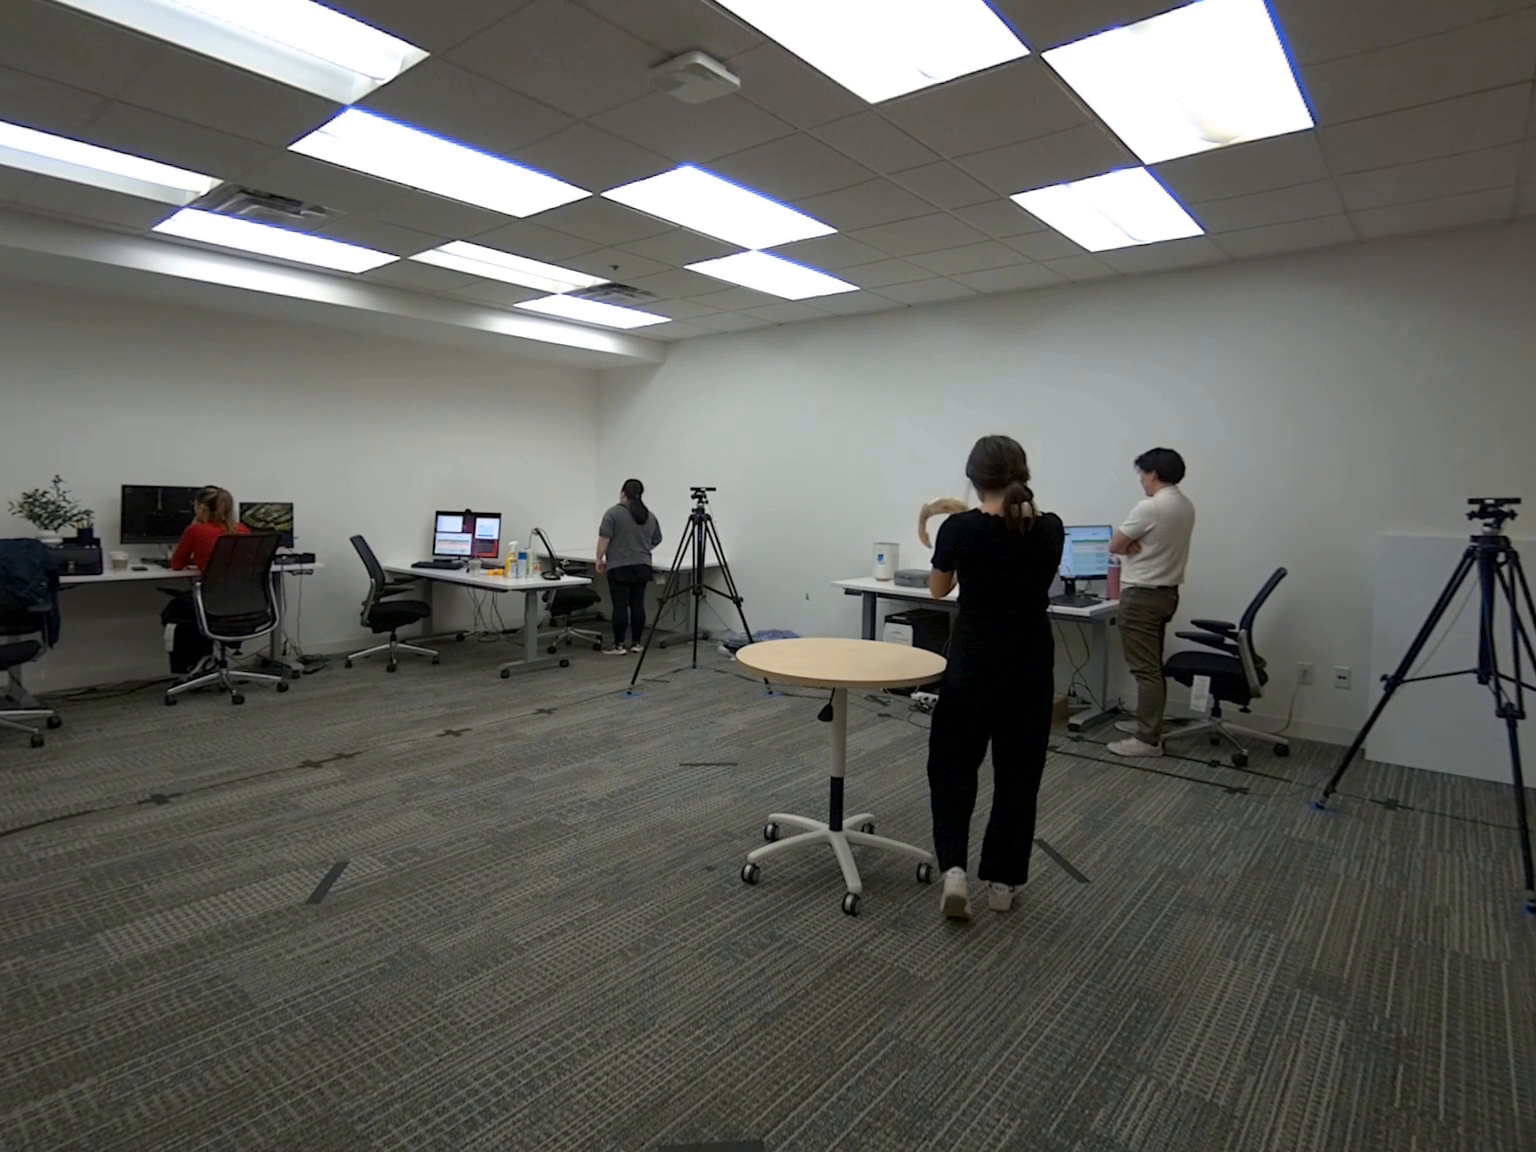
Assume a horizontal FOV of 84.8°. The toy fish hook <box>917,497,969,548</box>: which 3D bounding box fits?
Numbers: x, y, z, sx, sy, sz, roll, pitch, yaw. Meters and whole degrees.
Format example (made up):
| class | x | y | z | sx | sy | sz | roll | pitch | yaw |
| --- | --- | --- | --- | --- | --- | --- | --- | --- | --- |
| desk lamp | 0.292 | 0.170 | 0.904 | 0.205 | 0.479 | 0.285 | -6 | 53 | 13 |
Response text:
| class | x | y | z | sx | sy | sz | roll | pitch | yaw |
| --- | --- | --- | --- | --- | --- | --- | --- | --- | --- |
| toy fish hook | 0.727 | -0.087 | 3.333 | 0.229 | 0.497 | 0.048 | -15 | 17 | 27 |
